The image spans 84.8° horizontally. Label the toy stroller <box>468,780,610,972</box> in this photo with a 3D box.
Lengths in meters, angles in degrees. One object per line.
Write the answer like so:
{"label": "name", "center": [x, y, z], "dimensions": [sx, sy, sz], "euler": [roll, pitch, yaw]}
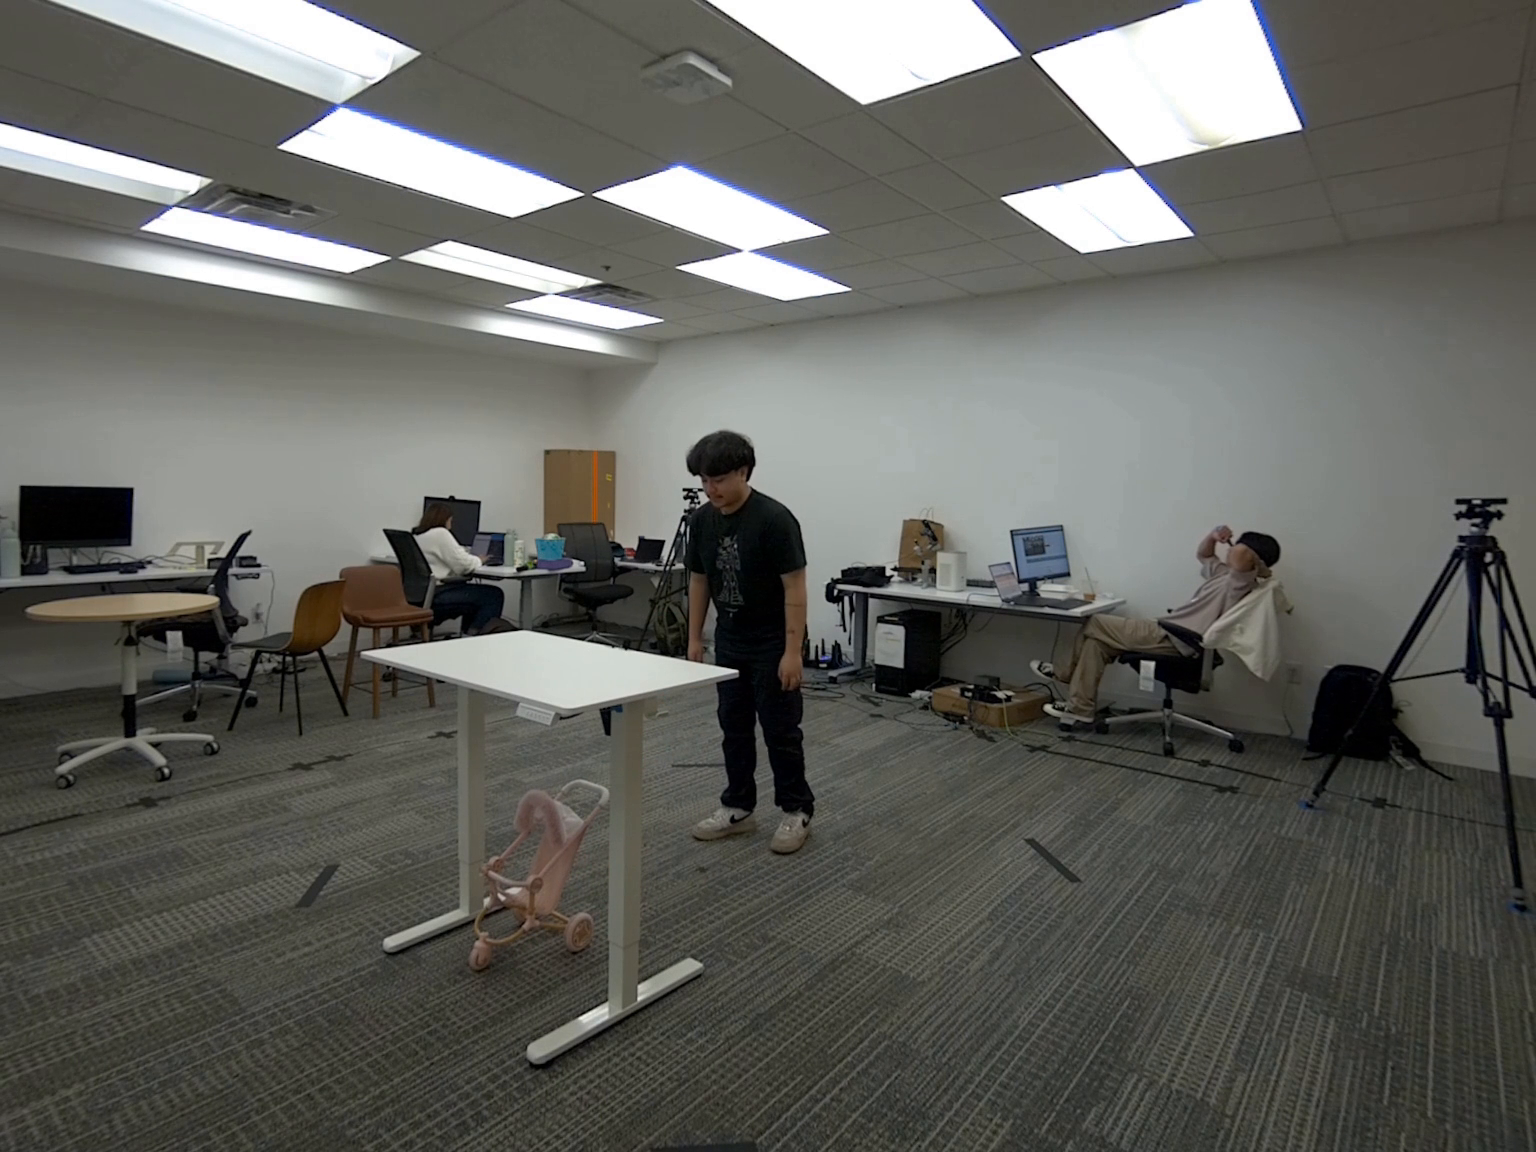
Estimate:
{"label": "toy stroller", "center": [-0.716, 0.889, 2.571], "dimensions": [0.291, 0.538, 0.328], "euler": [3, -11, 43]}
